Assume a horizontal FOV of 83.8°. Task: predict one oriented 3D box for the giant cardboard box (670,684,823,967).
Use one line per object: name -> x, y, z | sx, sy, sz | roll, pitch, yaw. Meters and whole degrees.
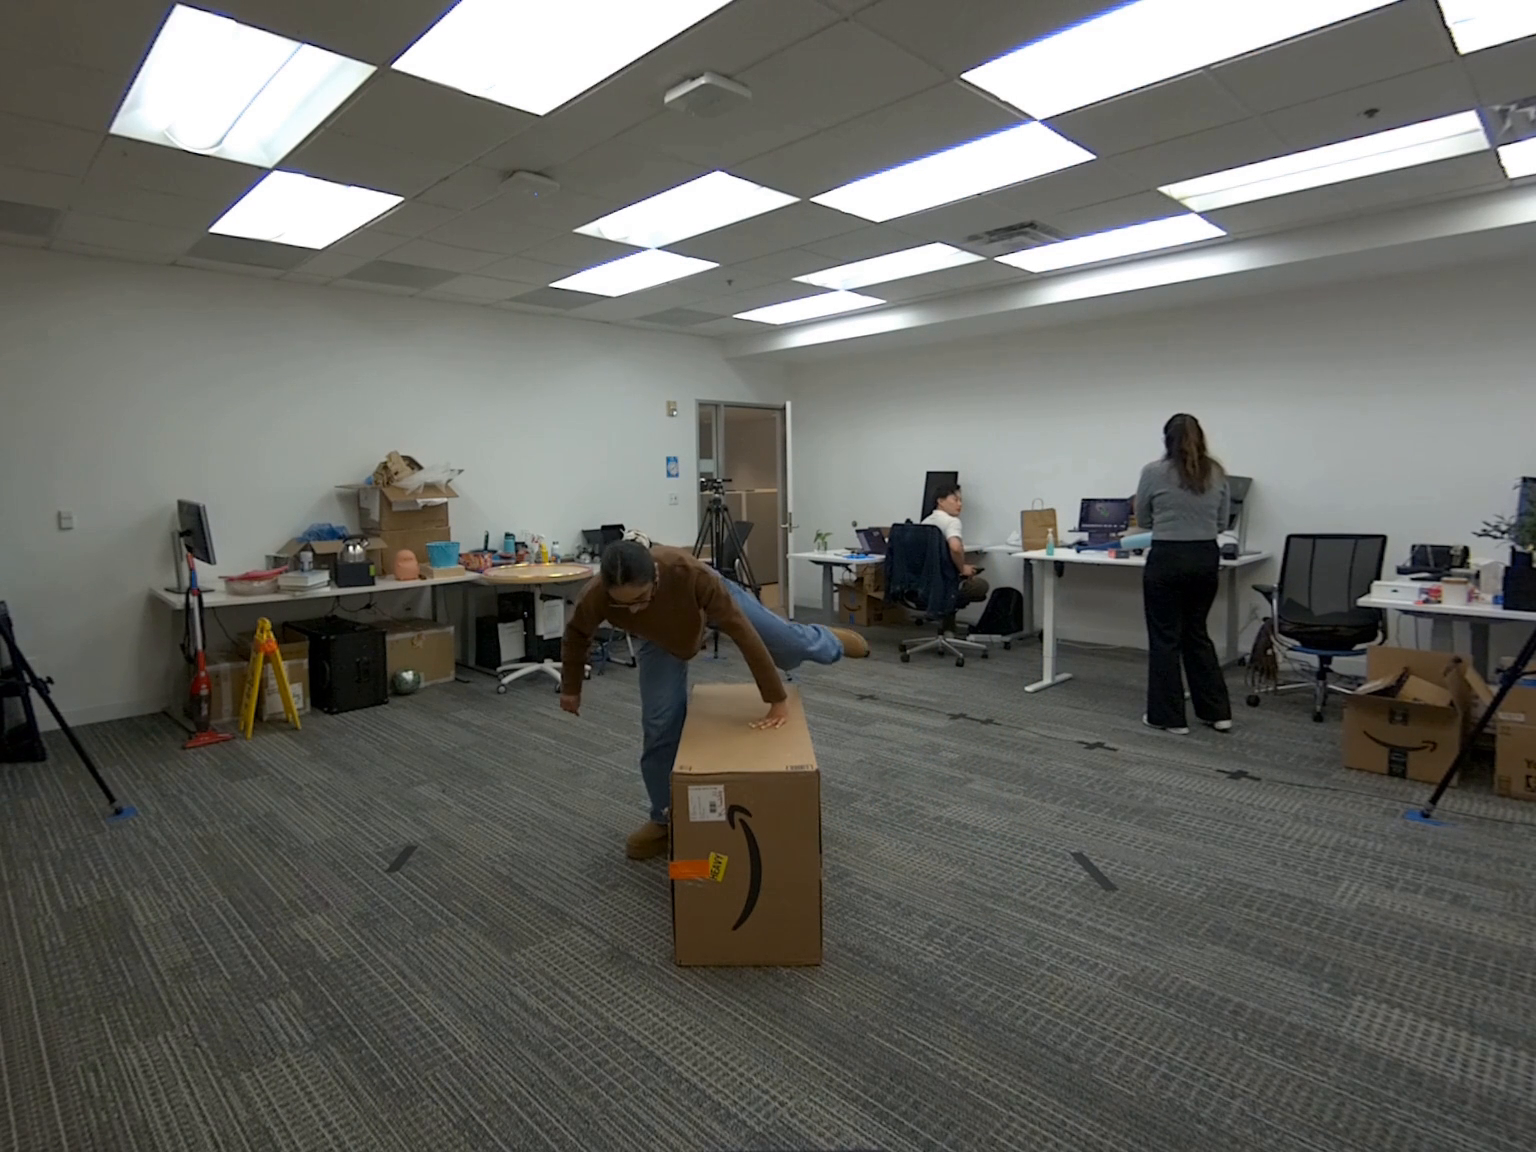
giant cardboard box -> -0.075, 0.783, 2.939 | 0.447, 0.581, 1.030 | 0, 6, 0
